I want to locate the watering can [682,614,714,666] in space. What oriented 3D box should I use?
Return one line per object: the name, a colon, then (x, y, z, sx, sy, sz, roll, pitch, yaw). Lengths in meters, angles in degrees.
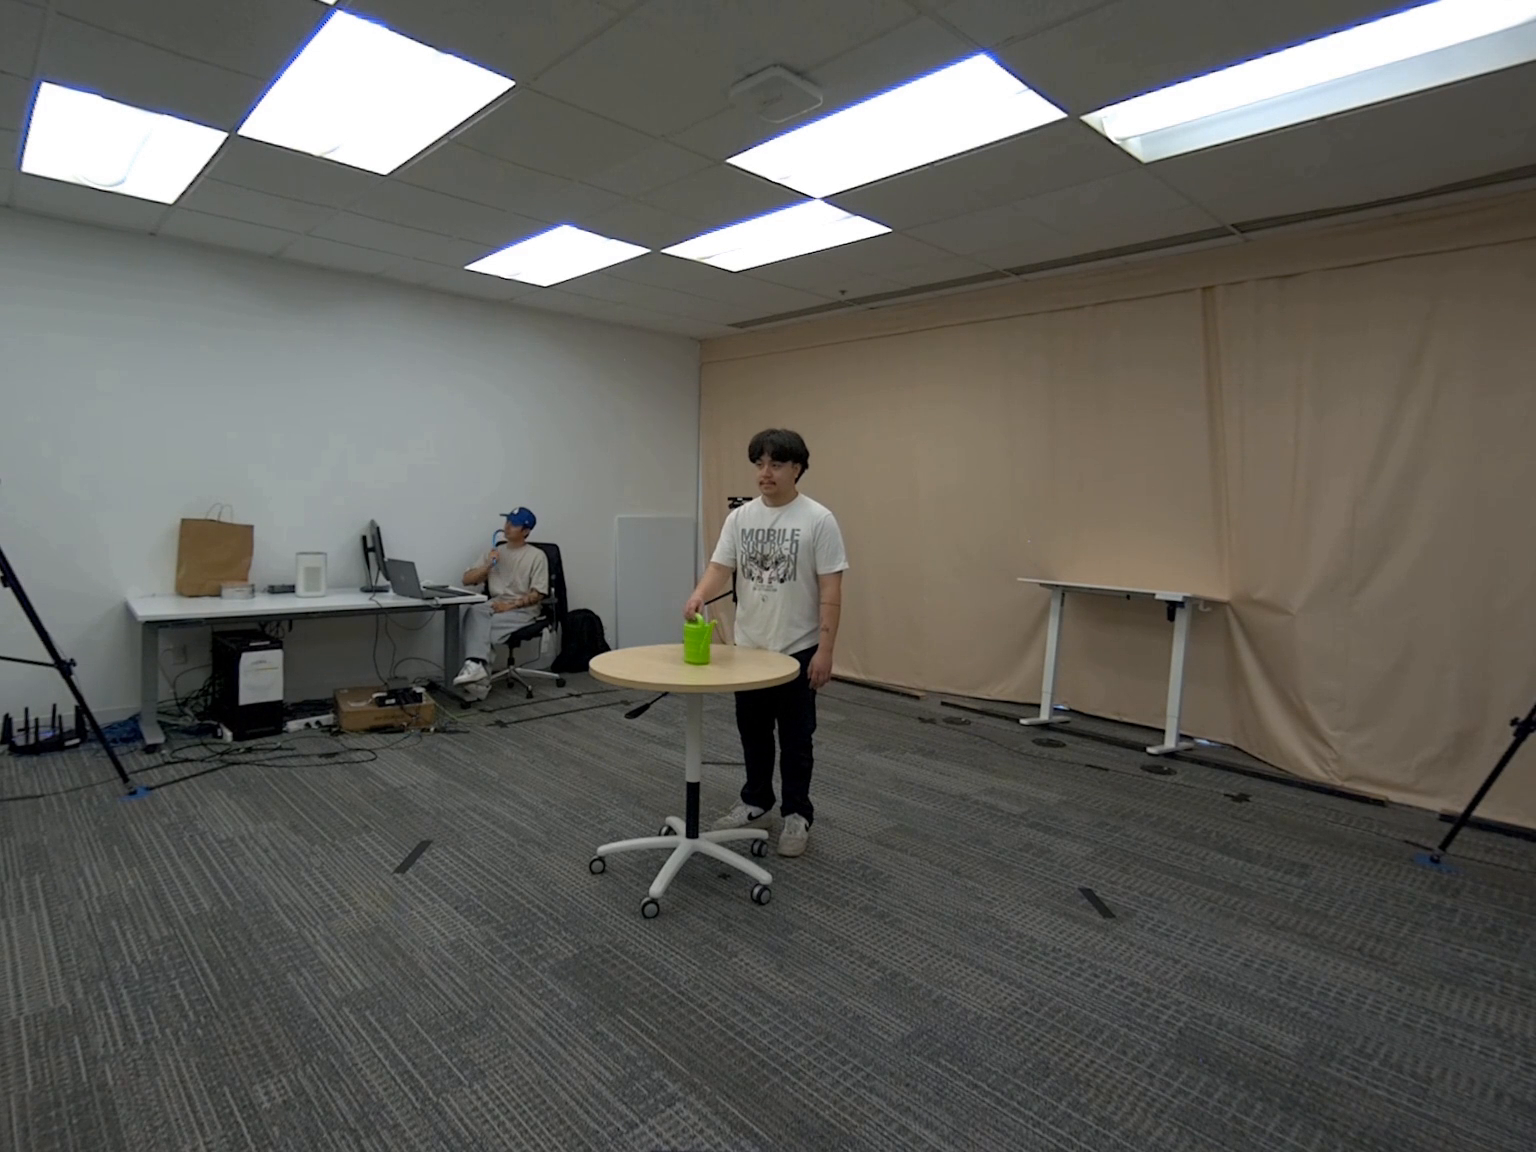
watering can: (-0.258, 0.224, 3.025, 0.097, 0.176, 0.281, -3, 4, -11)
